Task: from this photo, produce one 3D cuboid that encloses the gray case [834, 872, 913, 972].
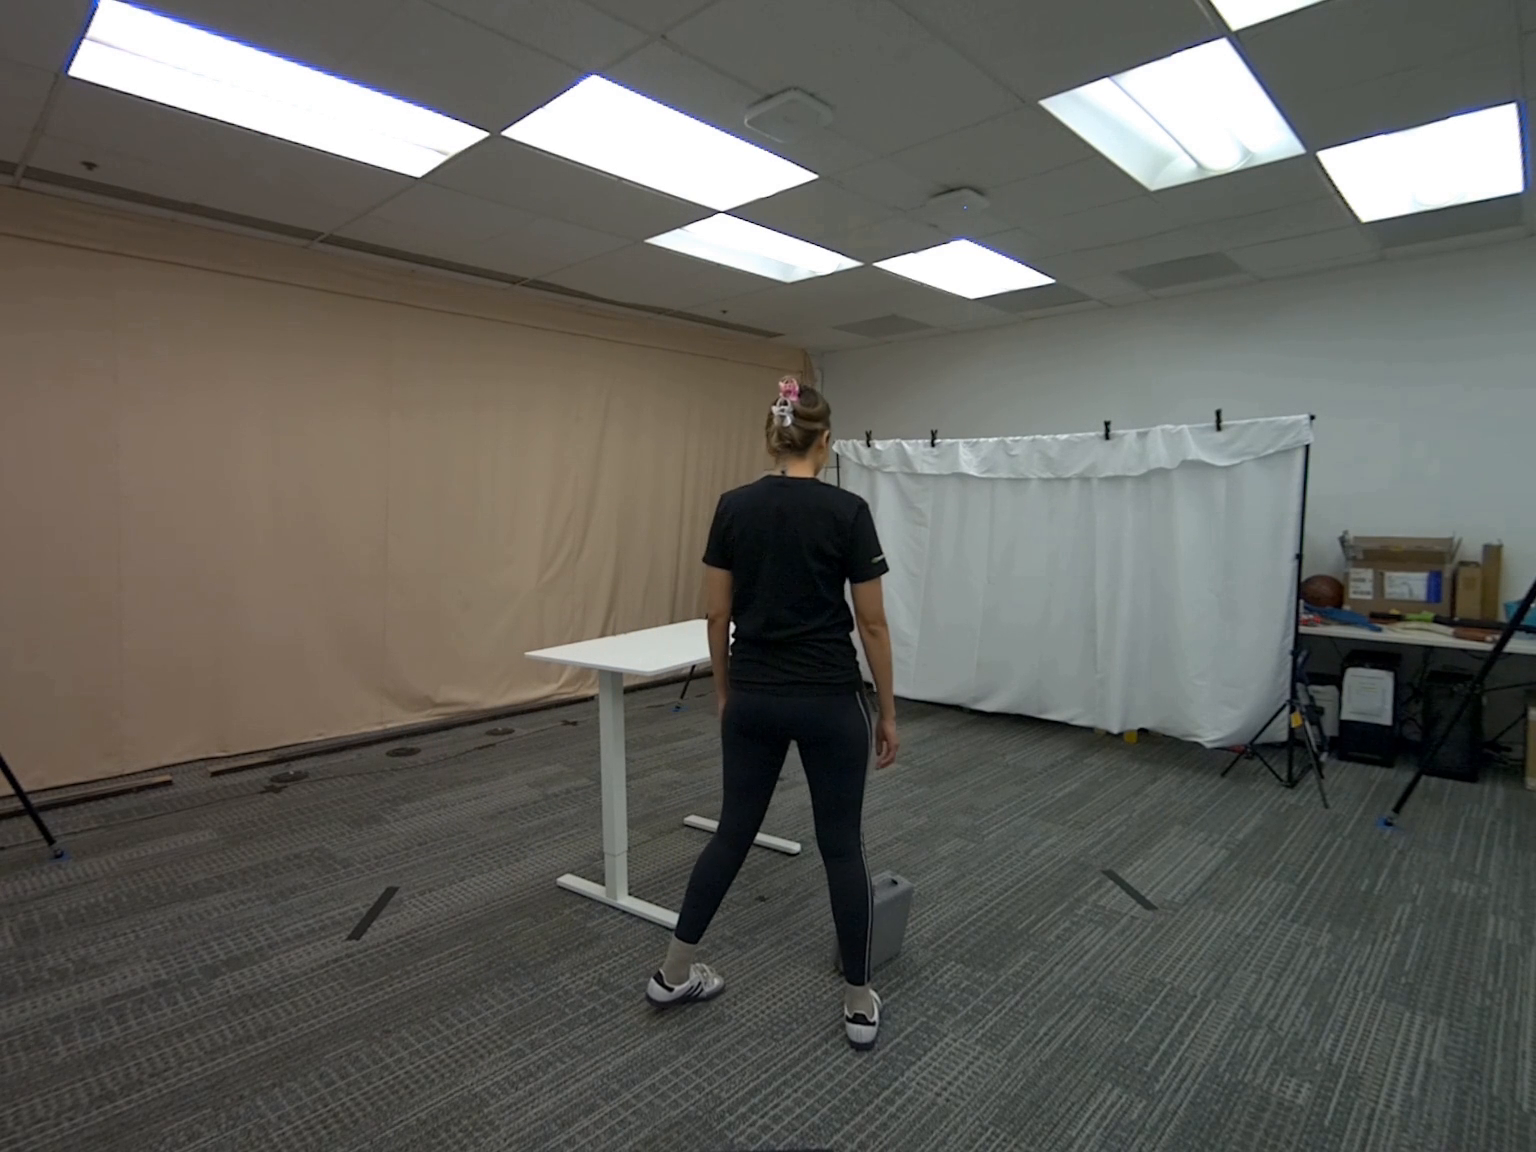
[{"bbox_3d":[0.324,1.049,2.547,0.249,0.259,0.108,-3,15,-42],"label":"gray case"}]
